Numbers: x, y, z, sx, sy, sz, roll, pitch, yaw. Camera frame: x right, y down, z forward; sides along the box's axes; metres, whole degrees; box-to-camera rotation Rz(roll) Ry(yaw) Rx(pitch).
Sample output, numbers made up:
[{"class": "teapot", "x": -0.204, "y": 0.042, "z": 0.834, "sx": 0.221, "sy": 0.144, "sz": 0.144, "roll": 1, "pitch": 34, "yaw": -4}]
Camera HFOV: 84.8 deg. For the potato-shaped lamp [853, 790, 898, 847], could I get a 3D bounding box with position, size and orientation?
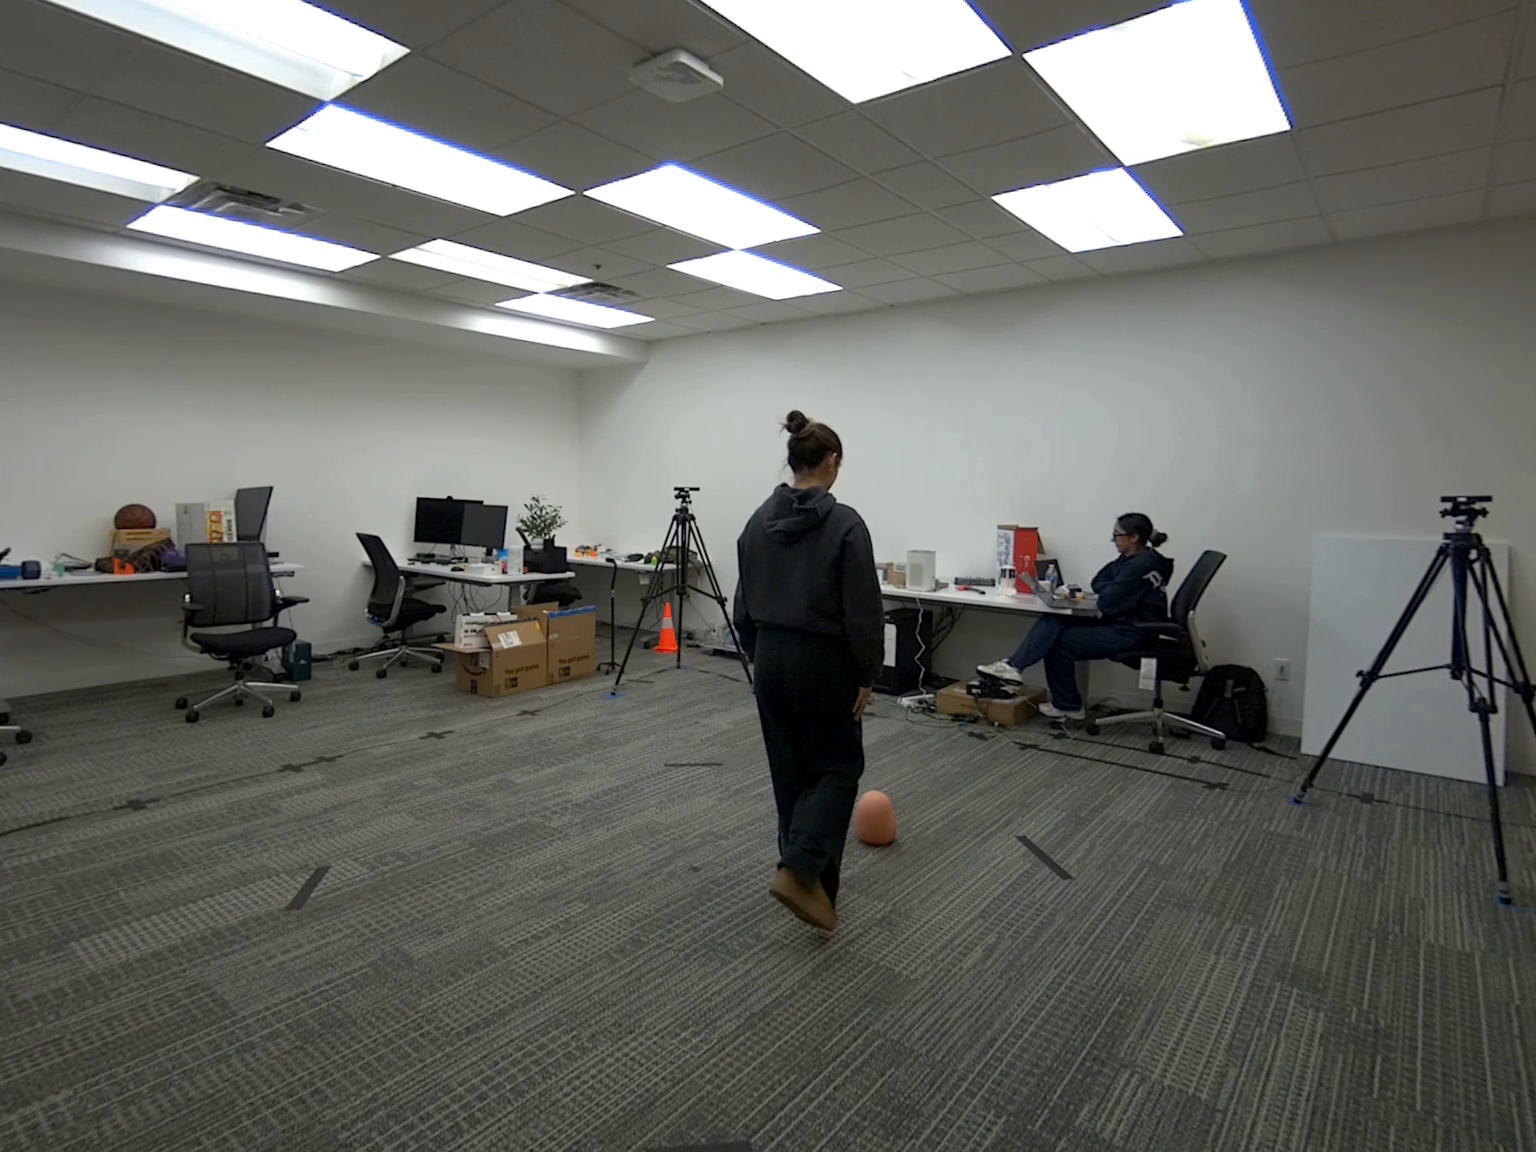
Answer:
[{"class": "potato-shaped lamp", "x": 0.431, "y": 0.952, "z": 3.392, "sx": 0.170, "sy": 0.197, "sz": 0.166, "roll": 6, "pitch": 6, "yaw": 41}]
